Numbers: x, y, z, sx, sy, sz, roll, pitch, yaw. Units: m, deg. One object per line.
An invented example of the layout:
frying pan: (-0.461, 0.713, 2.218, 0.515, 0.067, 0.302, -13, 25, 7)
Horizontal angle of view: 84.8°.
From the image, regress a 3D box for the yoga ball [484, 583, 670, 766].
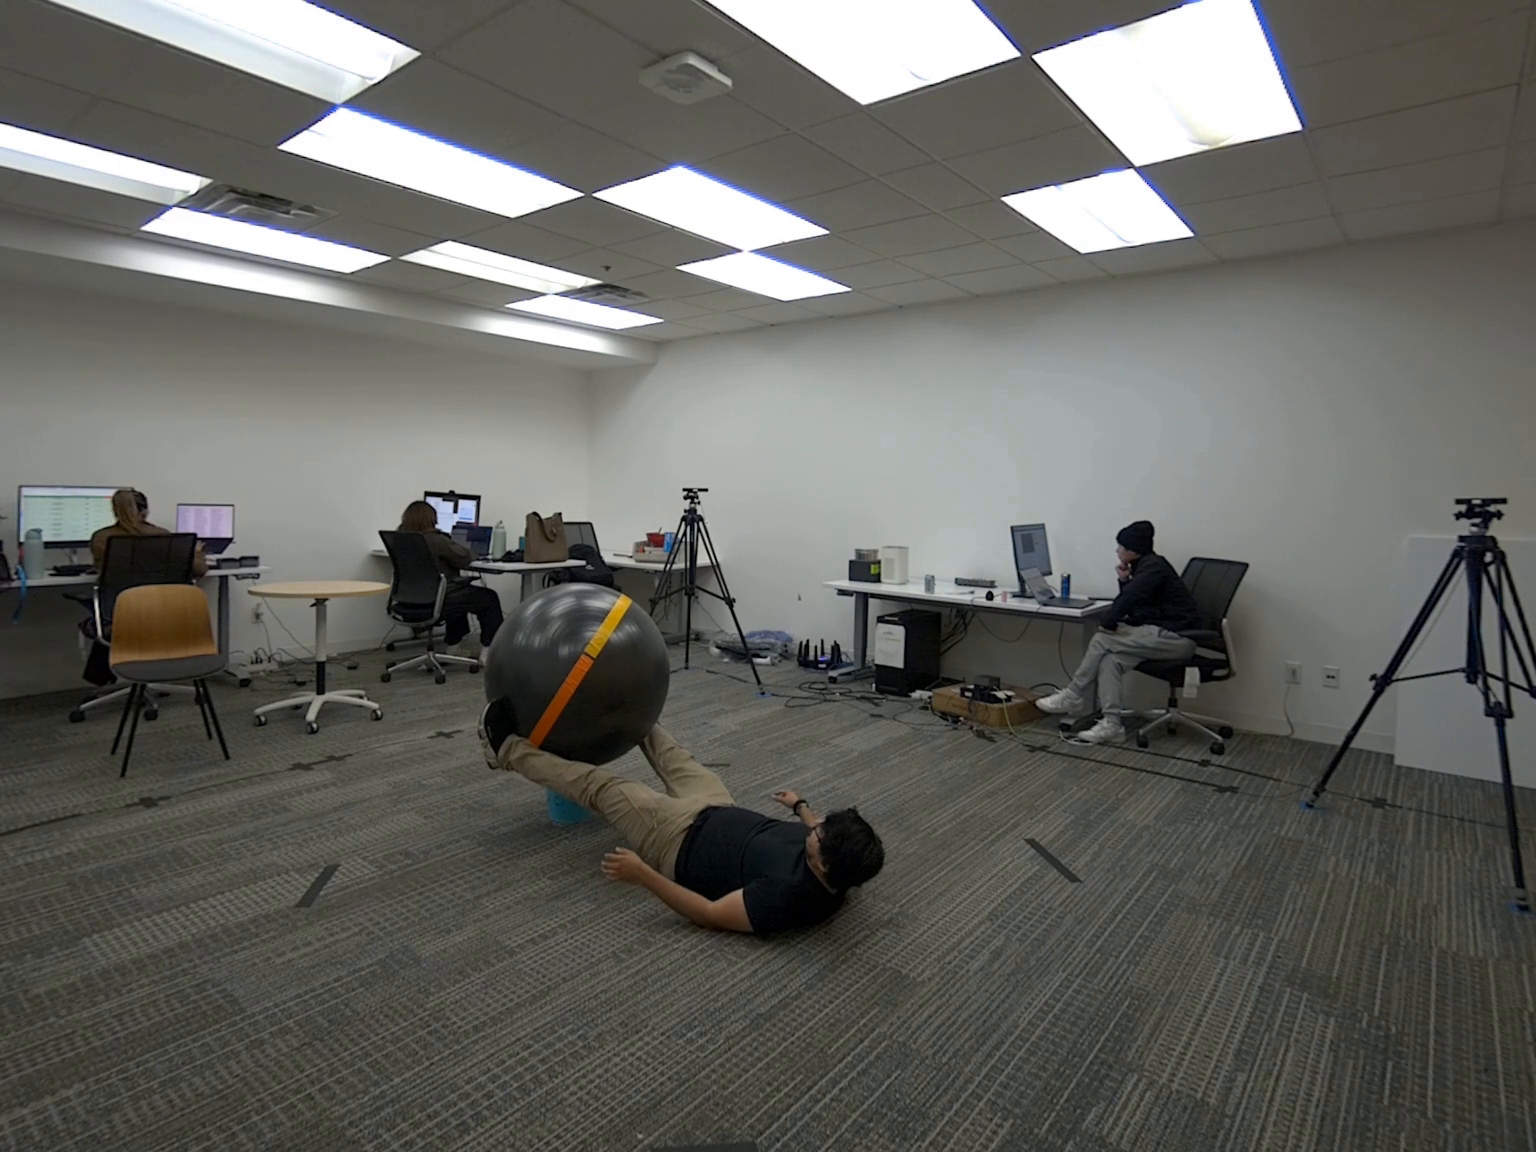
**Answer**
yoga ball: (-0.799, 0.413, 3.531, 0.757, 0.755, 0.762, 1, 4, -2)
